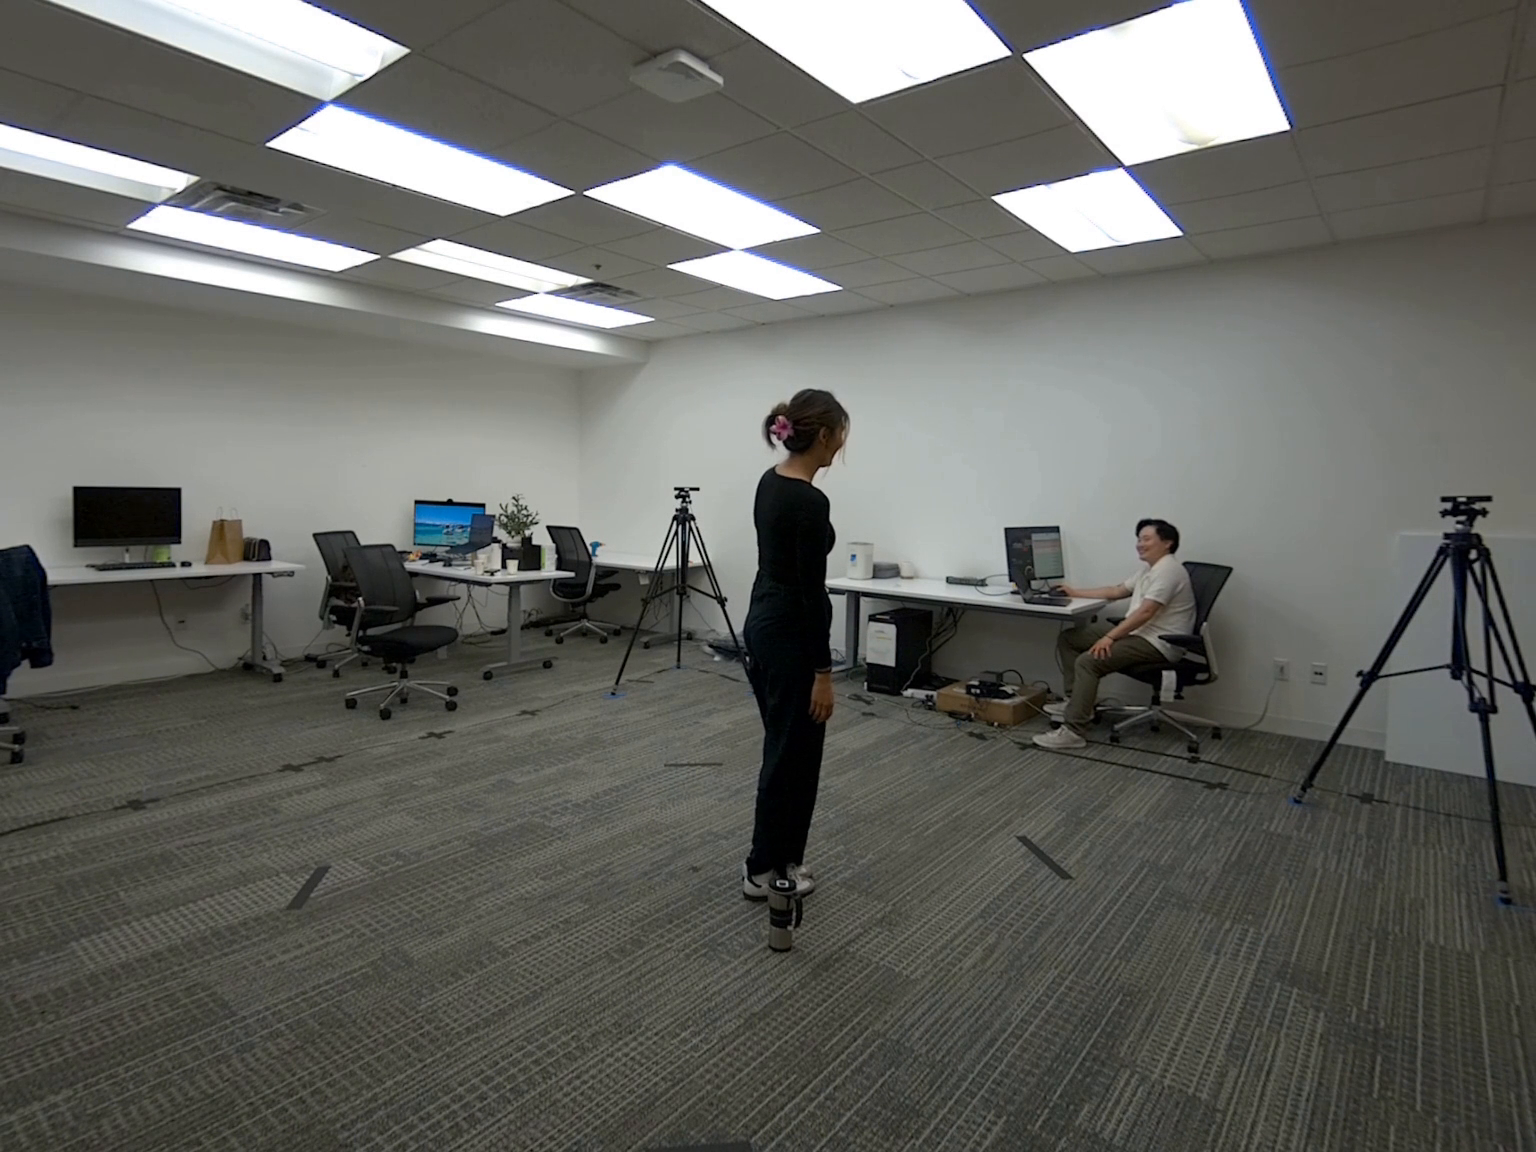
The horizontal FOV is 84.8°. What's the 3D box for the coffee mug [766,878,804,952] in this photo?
[{"bbox_3d":[0.033,1.034,2.554,0.086,0.203,0.124,3,-1,-16],"label":"coffee mug"}]
